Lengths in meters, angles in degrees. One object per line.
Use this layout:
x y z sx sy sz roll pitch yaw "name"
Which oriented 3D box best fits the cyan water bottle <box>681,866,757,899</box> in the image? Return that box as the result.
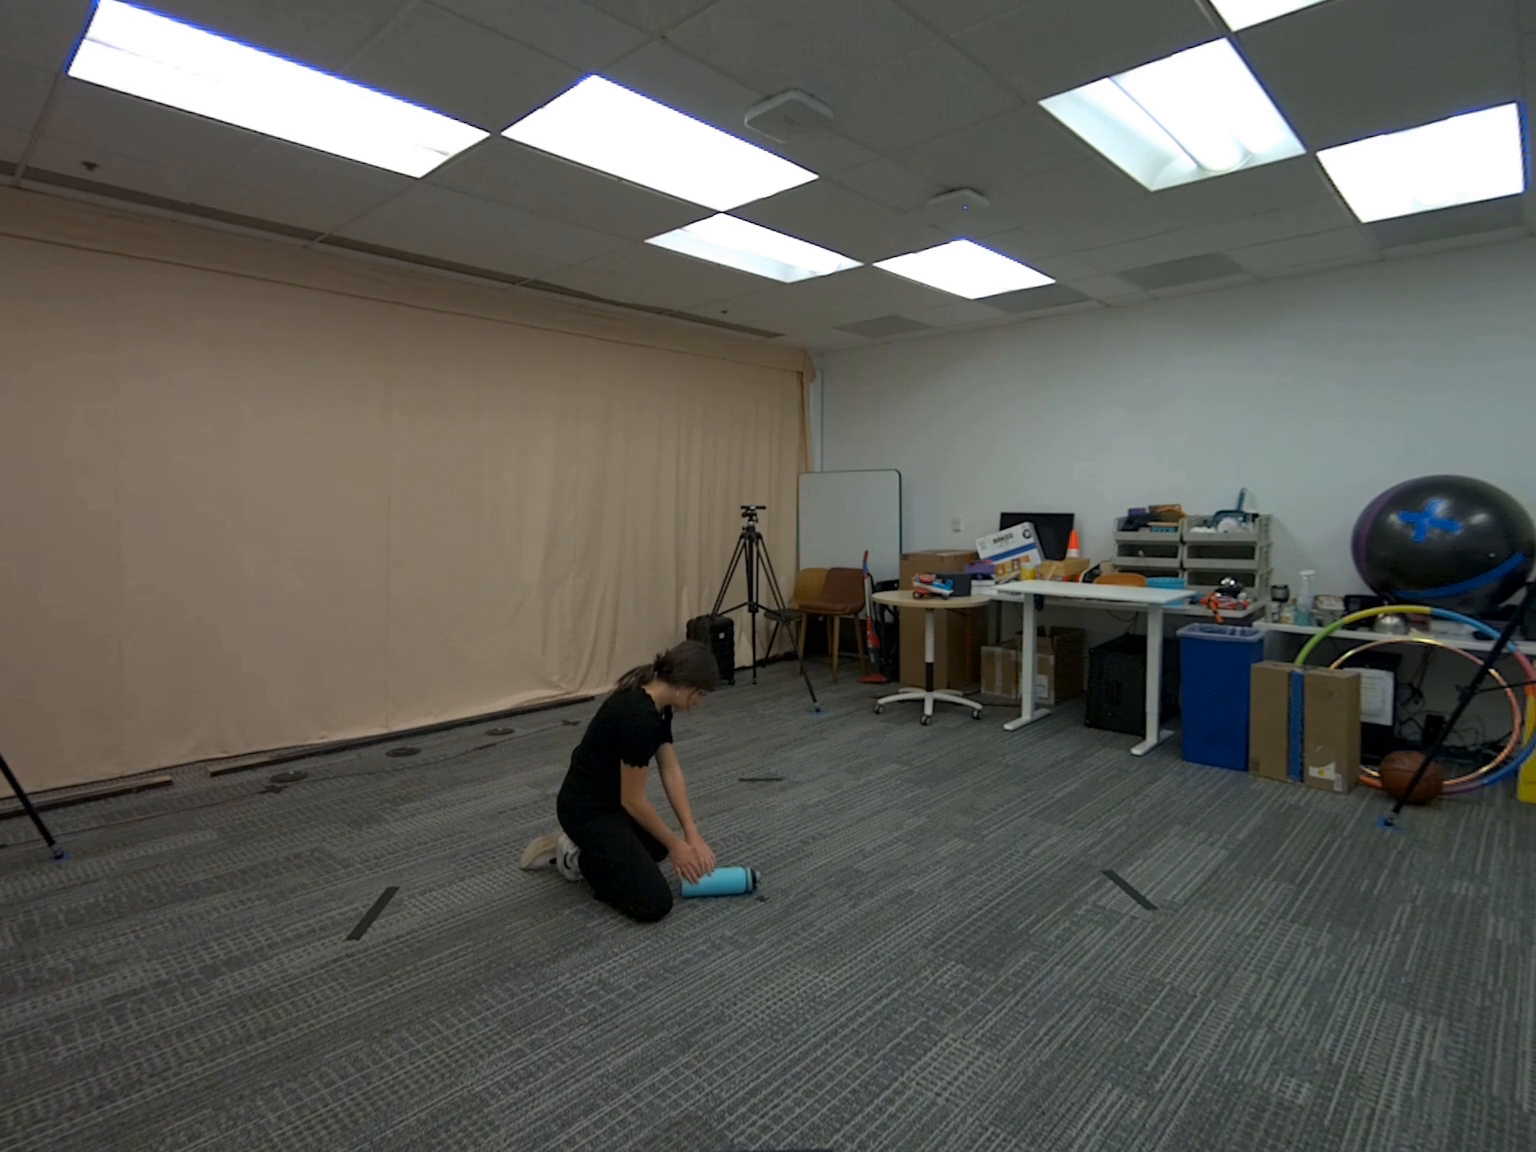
-0.170 1.100 3.019 0.282 0.092 0.093 -2 4 -3 "cyan water bottle"
